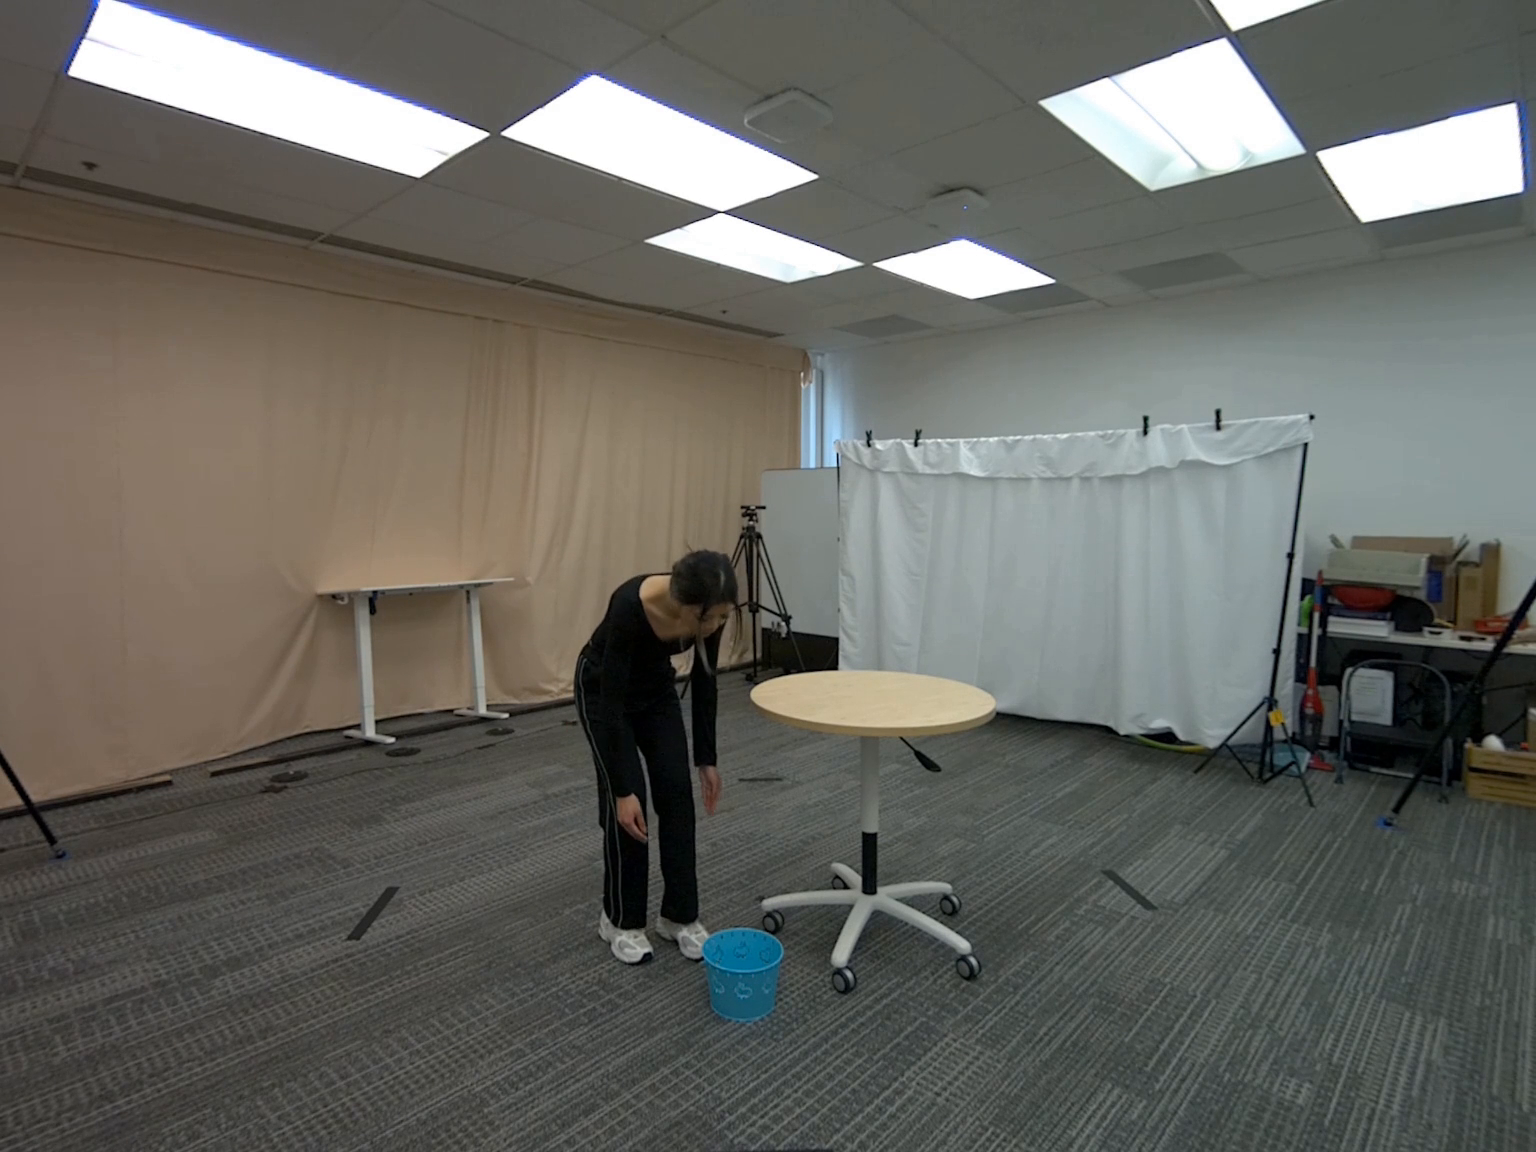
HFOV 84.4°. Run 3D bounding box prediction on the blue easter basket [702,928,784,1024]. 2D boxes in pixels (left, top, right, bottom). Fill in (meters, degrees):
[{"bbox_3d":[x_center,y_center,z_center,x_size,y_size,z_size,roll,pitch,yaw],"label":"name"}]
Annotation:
[{"bbox_3d":[-0.065,1.119,2.364,0.243,0.155,0.244,0,4,-2],"label":"blue easter basket"}]
